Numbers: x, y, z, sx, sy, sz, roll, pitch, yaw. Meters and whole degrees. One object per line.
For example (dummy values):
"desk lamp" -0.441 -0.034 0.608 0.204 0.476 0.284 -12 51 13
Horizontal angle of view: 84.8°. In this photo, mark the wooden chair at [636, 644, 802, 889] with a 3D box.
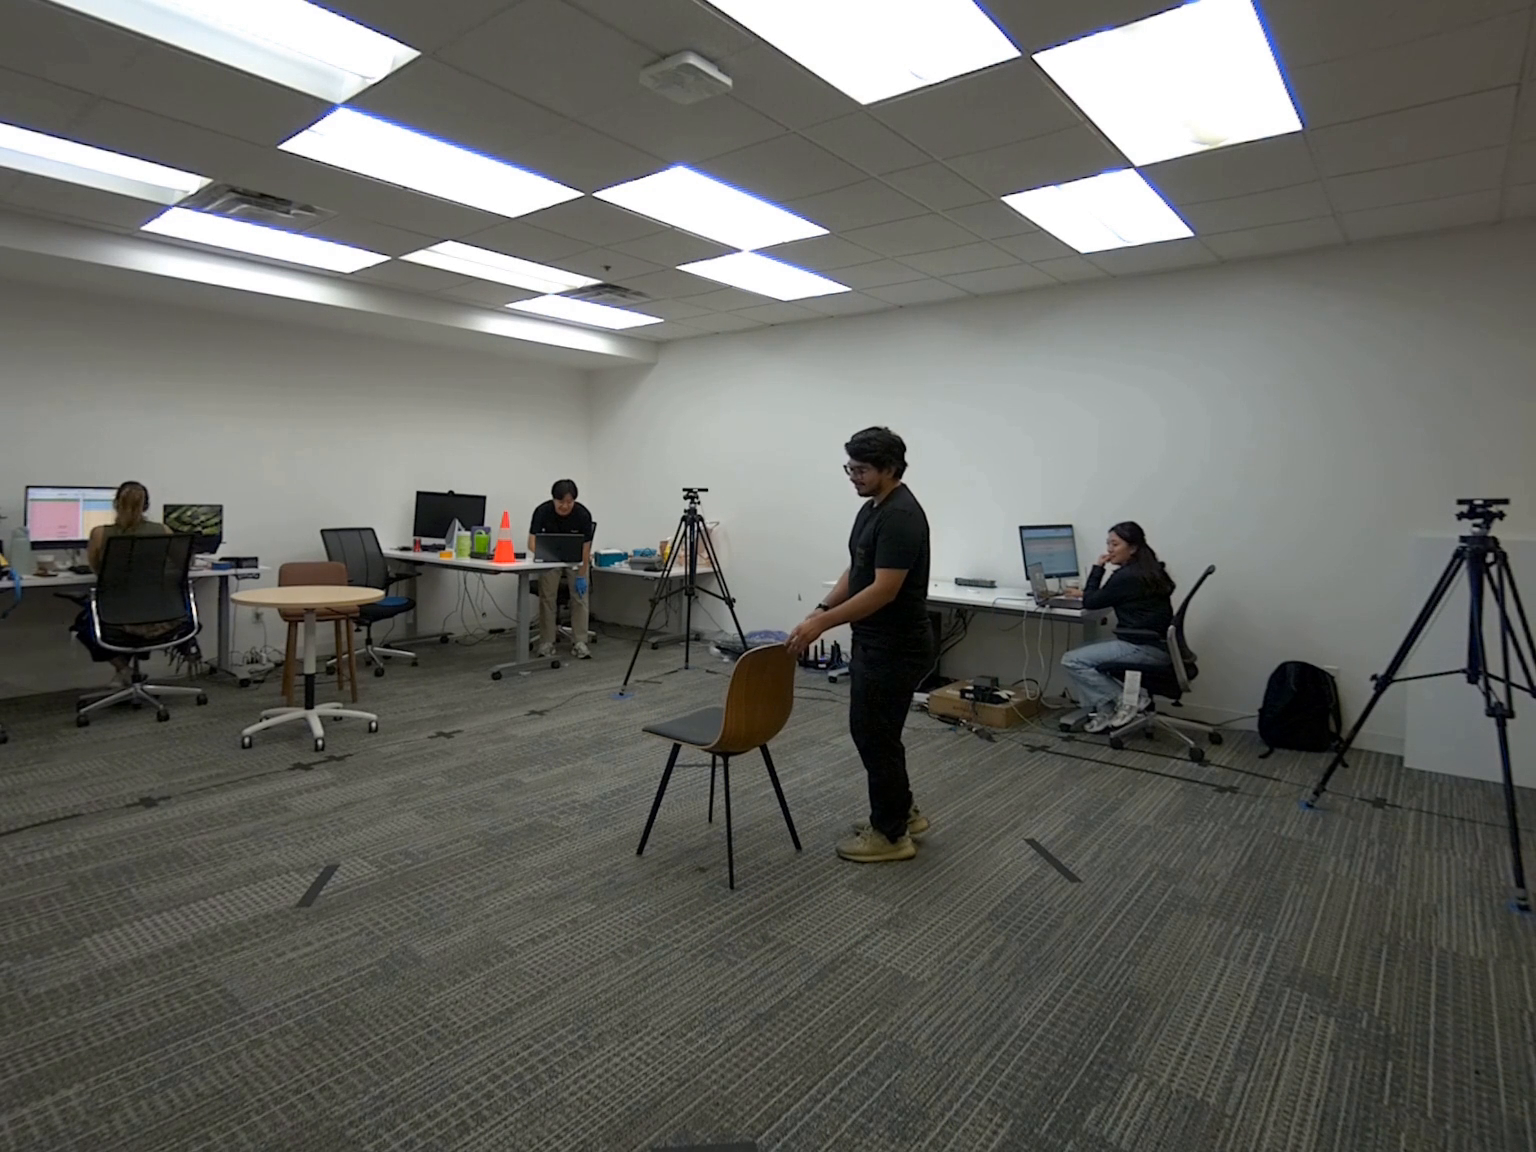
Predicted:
"wooden chair" -0.193 0.631 3.236 0.541 0.873 0.464 9 8 36
